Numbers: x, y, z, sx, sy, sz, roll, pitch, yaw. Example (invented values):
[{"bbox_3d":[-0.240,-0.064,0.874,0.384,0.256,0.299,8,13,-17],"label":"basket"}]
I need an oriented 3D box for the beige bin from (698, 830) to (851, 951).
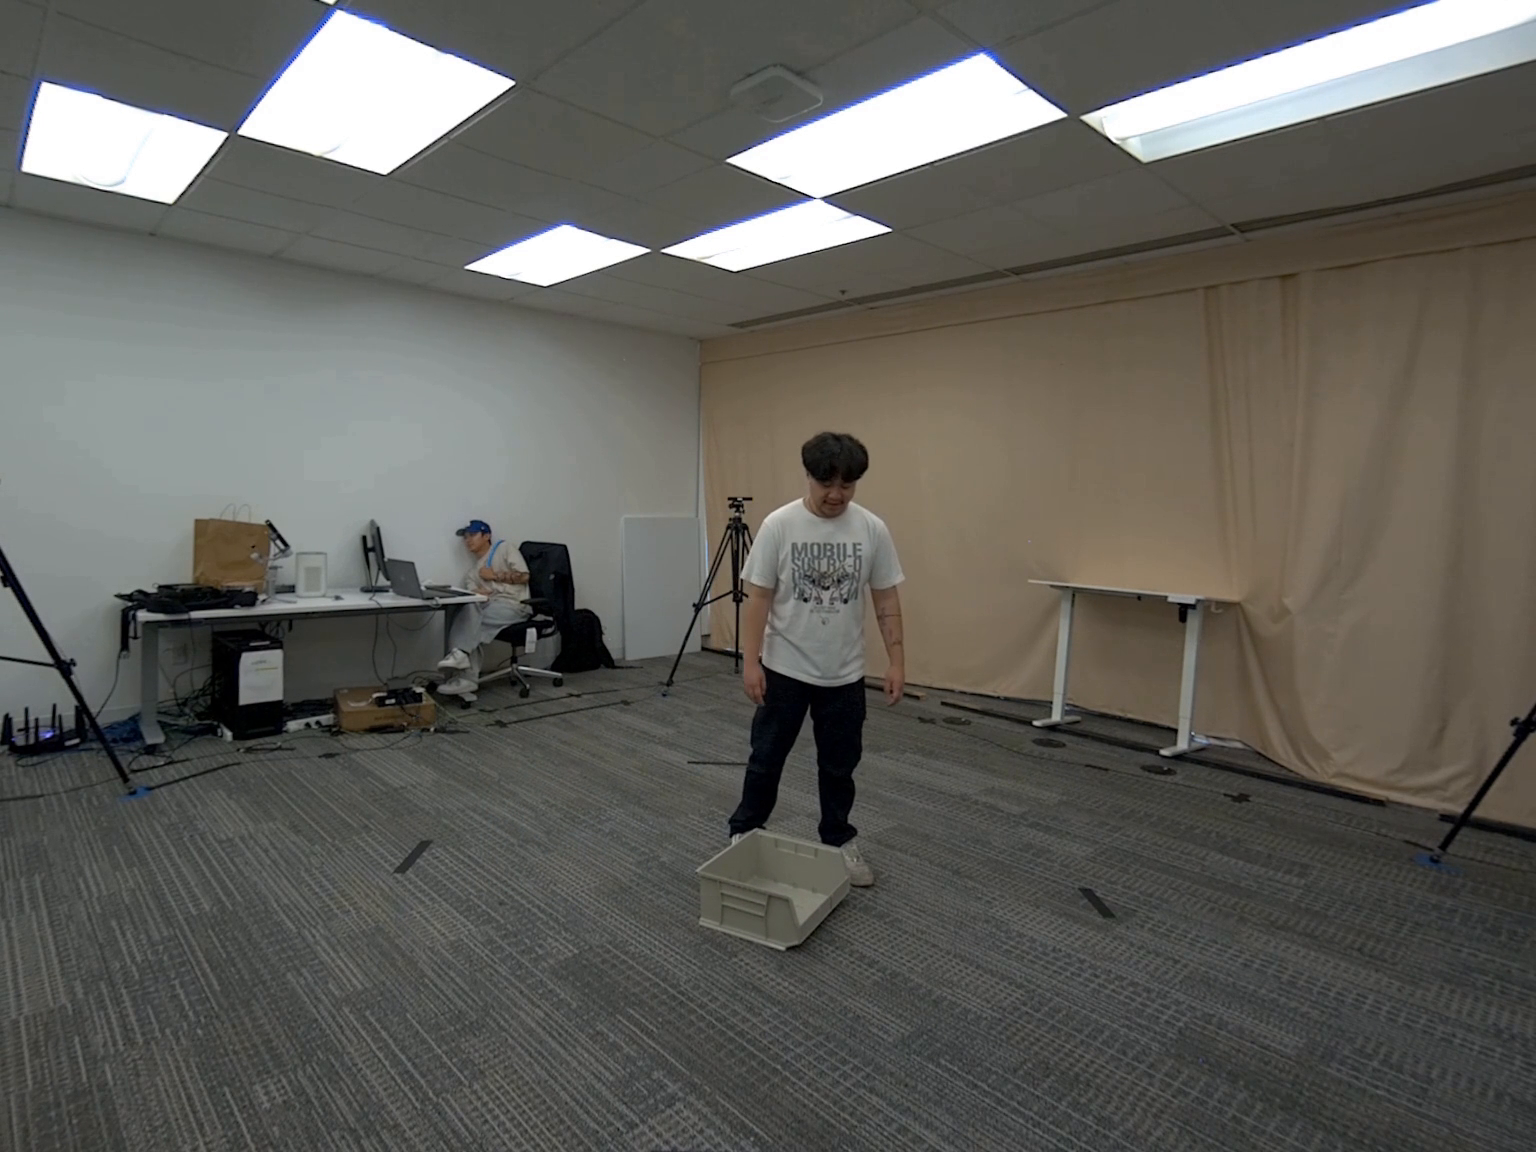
[{"bbox_3d":[0.018,1.047,2.831,0.385,0.188,0.415,2,5,28],"label":"beige bin"}]
